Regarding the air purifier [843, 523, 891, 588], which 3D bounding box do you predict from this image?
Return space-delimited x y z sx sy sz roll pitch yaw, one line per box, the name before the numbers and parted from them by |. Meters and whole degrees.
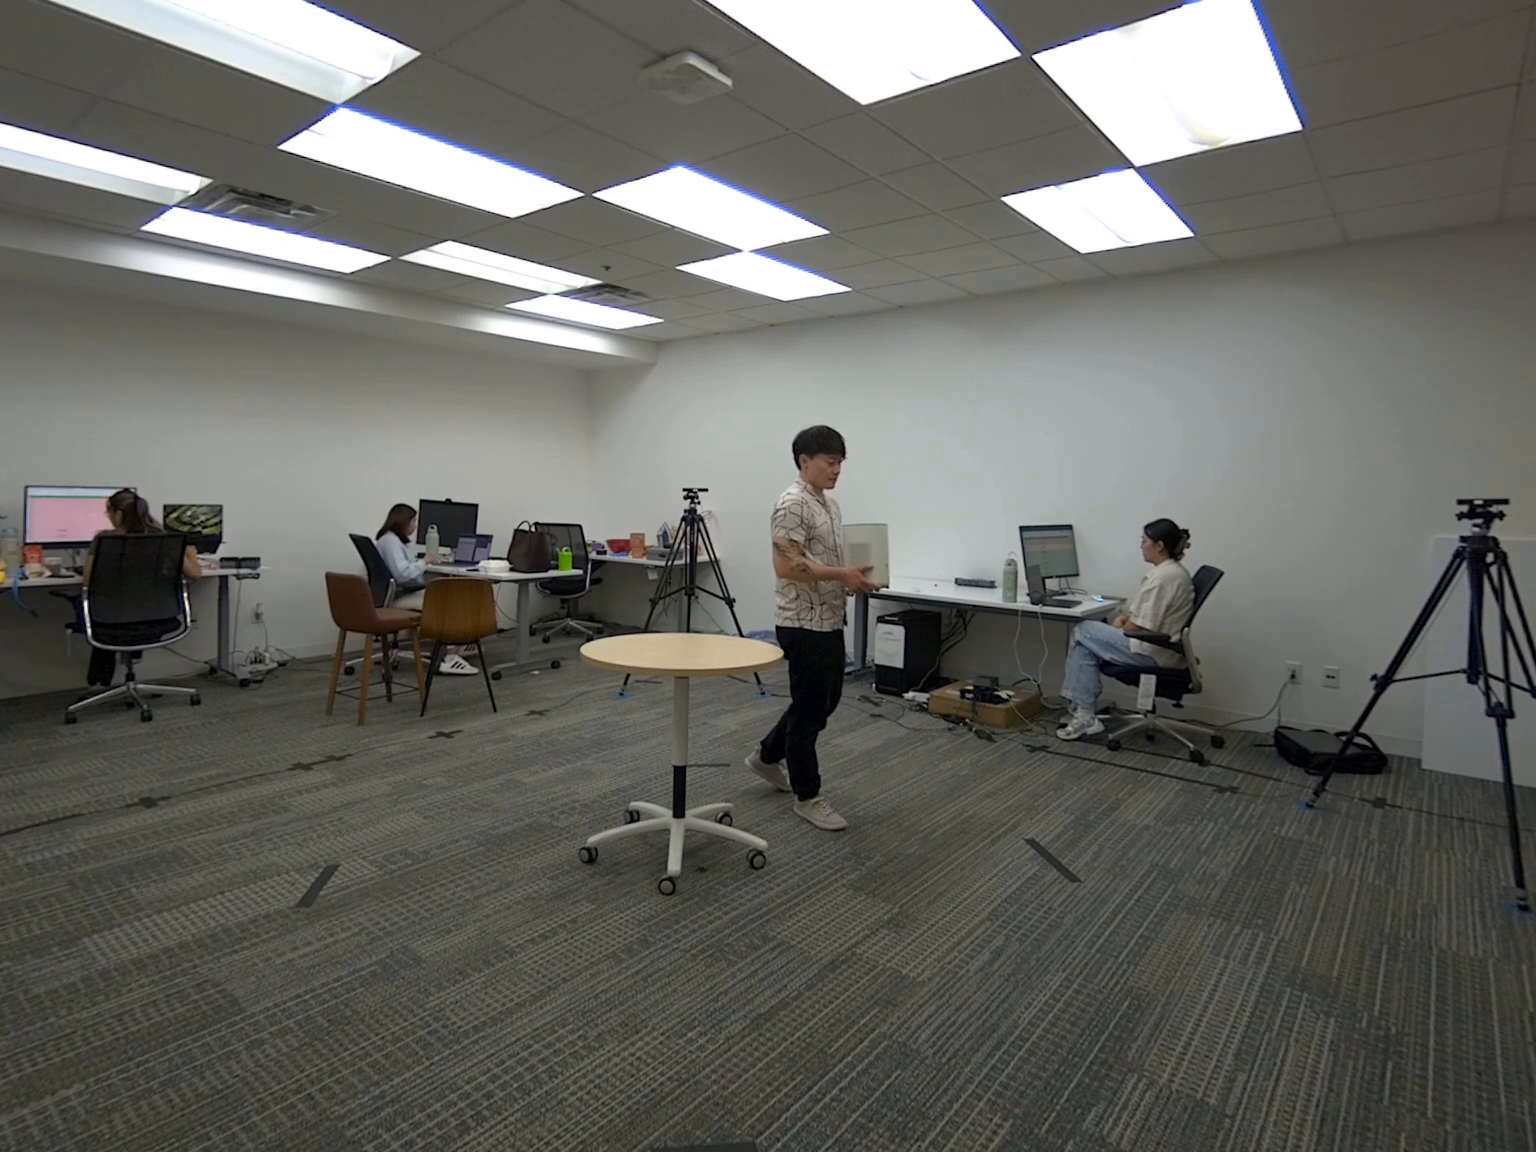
air purifier | 0.393 -0.077 3.511 0.175 0.266 0.167 -6 -4 22
